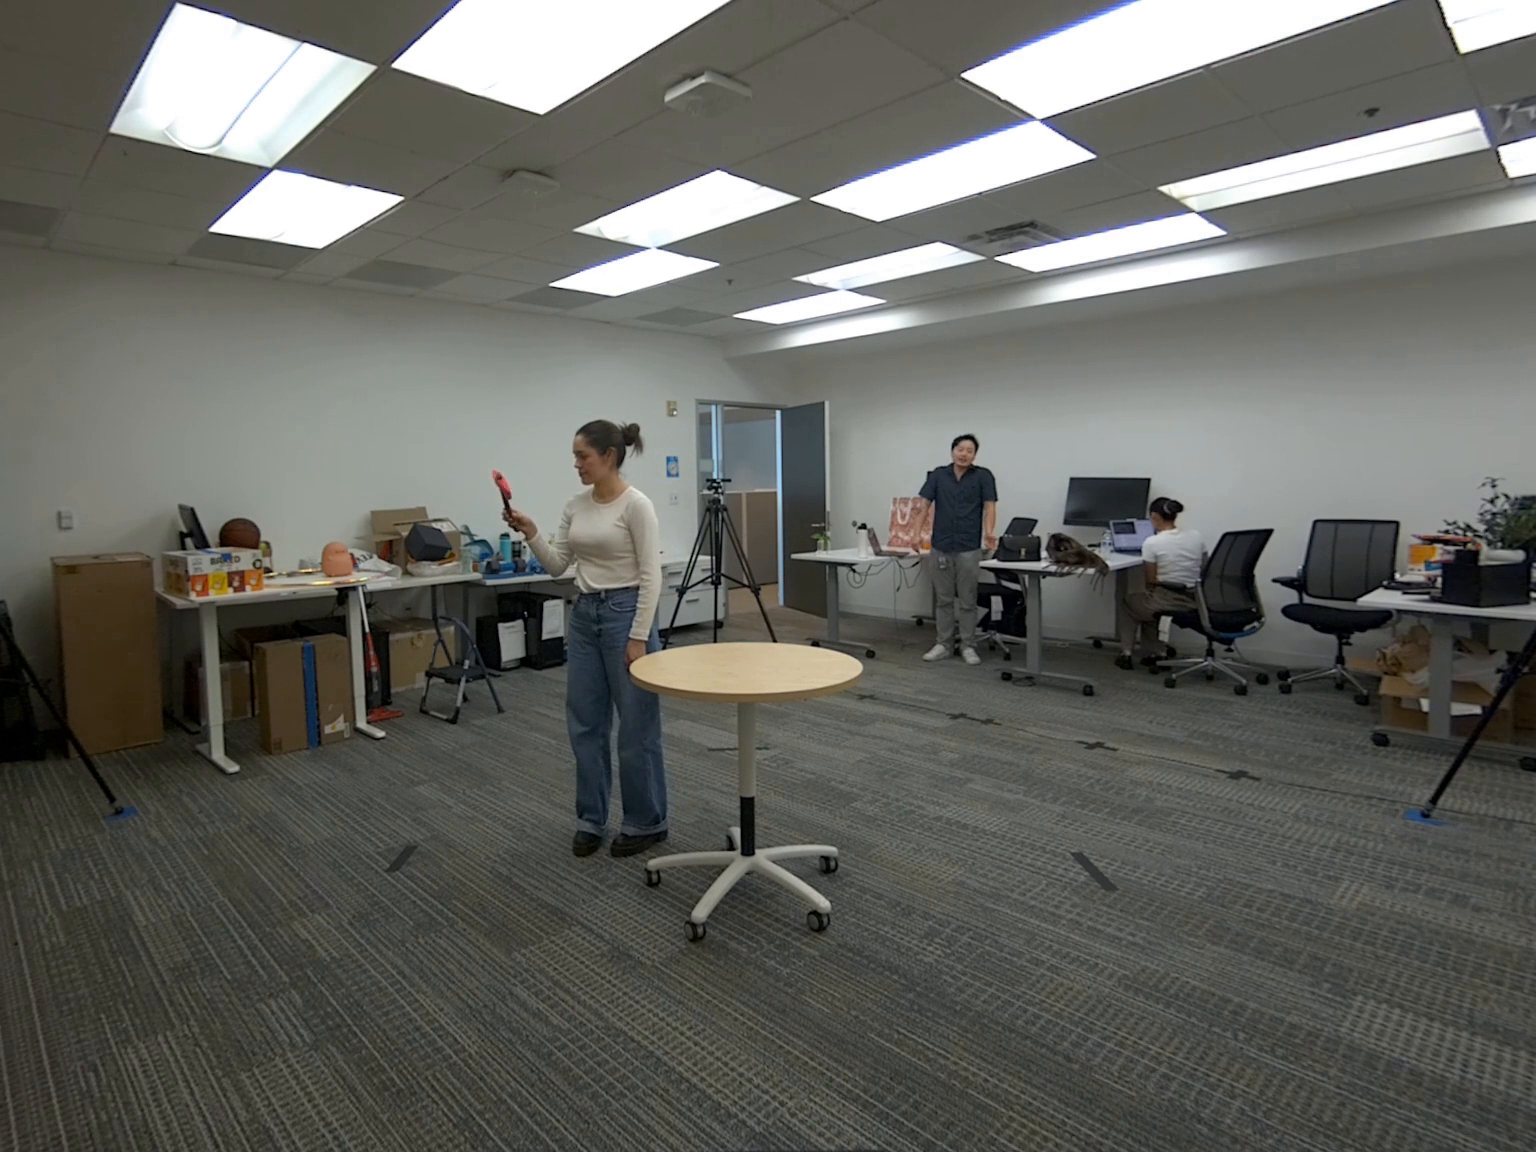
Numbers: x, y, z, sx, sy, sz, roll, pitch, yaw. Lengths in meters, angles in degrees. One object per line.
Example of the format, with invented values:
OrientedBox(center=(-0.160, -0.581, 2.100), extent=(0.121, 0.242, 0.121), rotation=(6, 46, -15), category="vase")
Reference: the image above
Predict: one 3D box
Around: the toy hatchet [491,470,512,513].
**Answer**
OrientedBox(center=(-0.925, -0.254, 3.065), extent=(0.029, 0.262, 0.136), rotation=(-28, 37, -25), category="toy hatchet")
